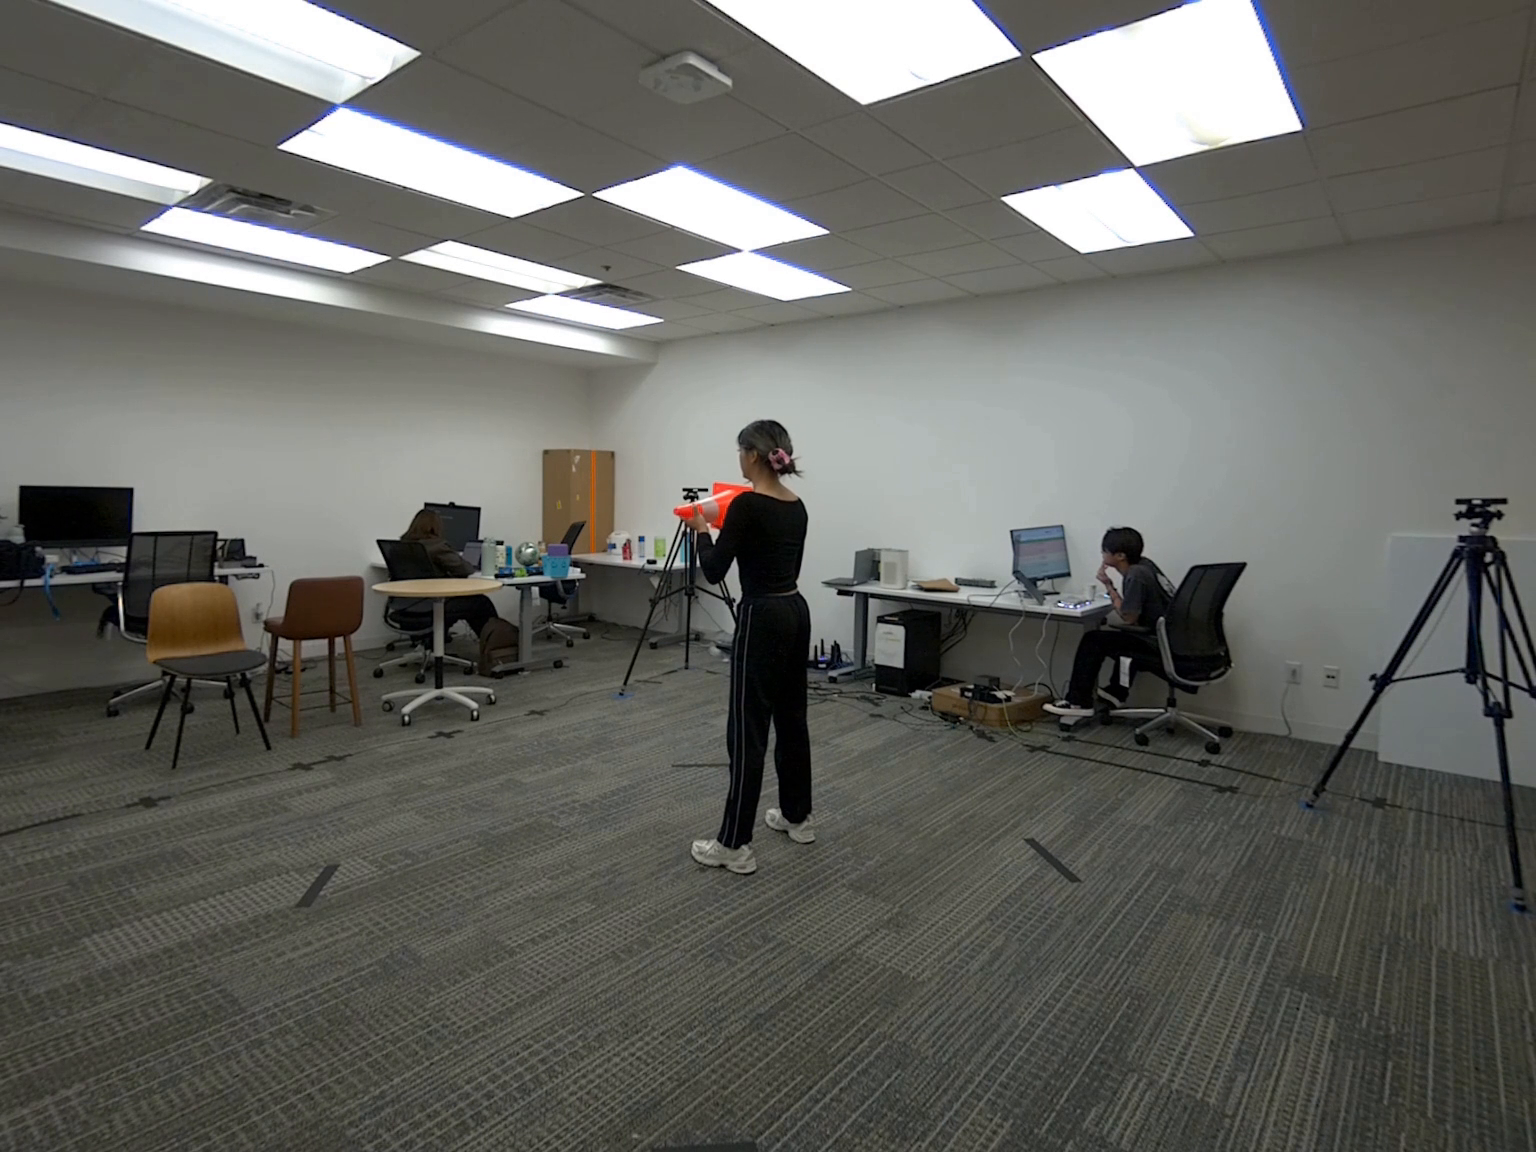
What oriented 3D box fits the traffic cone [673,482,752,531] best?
[{"bbox_3d":[-0.258,-0.268,3.420,0.210,0.203,0.374,11,11,31],"label":"traffic cone"}]
